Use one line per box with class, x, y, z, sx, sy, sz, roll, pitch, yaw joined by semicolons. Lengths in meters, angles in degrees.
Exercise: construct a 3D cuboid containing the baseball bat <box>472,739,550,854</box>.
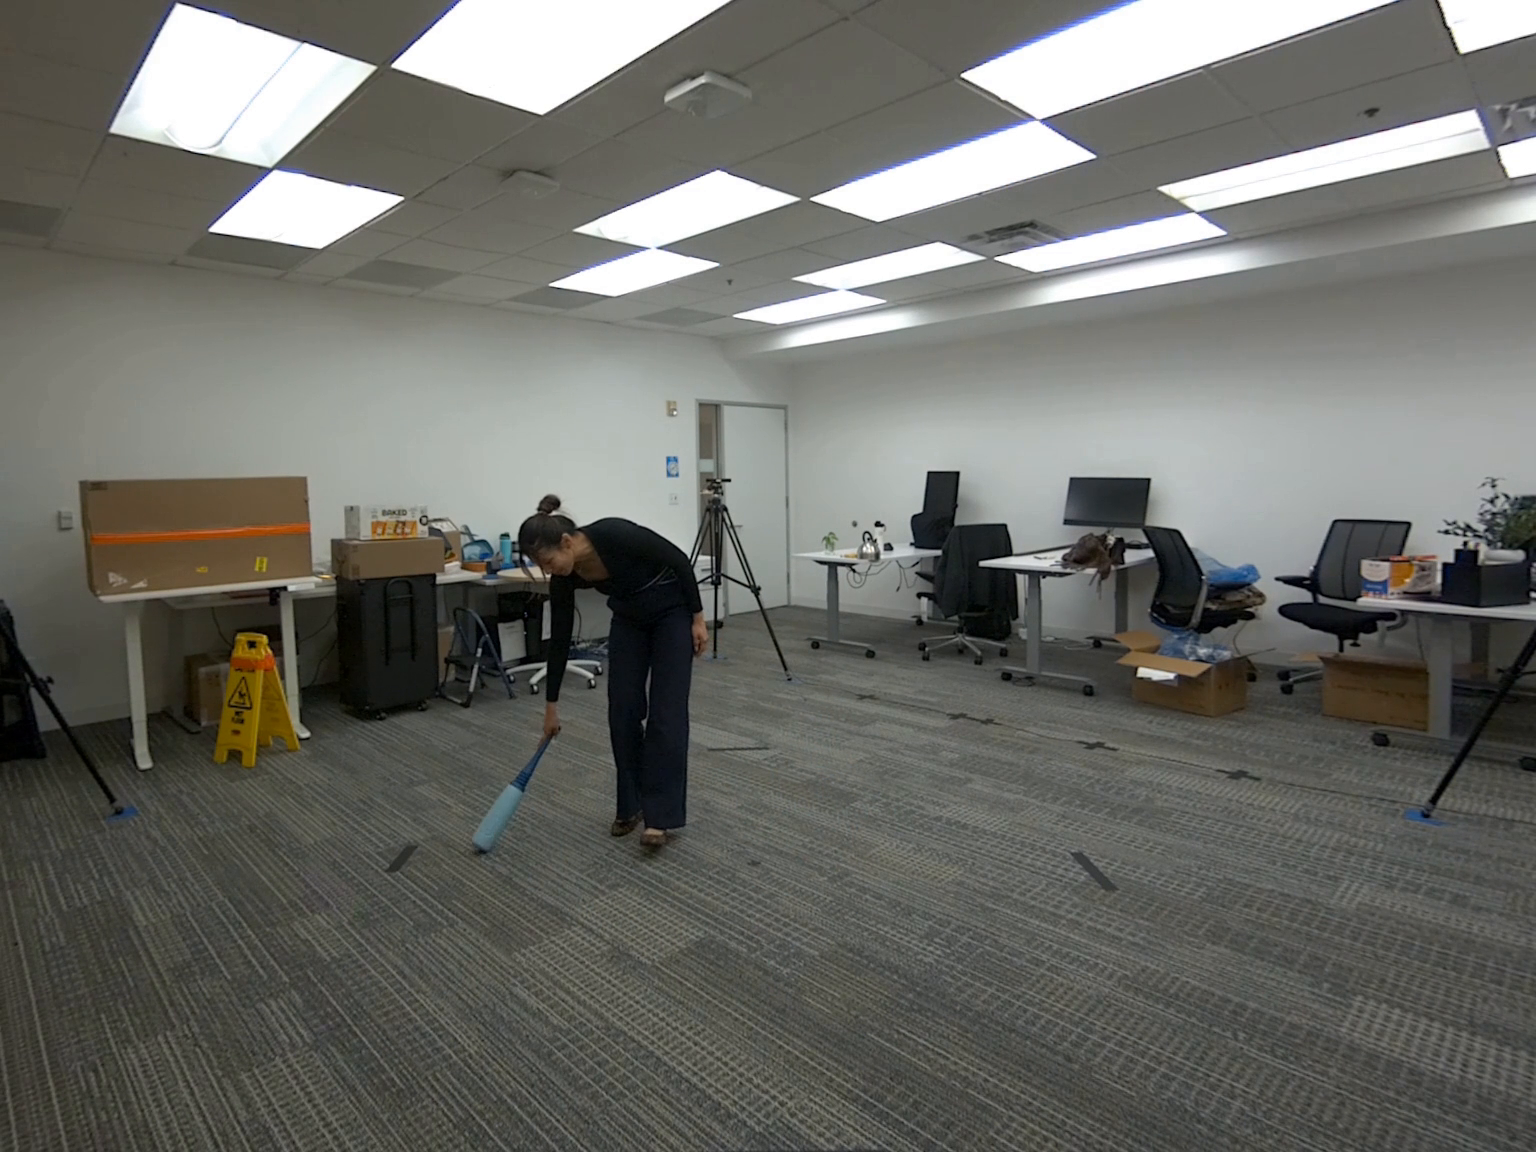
baseball bat;-0.974;0.821;3.347;0.090;0.547;0.087;24;-26;11
